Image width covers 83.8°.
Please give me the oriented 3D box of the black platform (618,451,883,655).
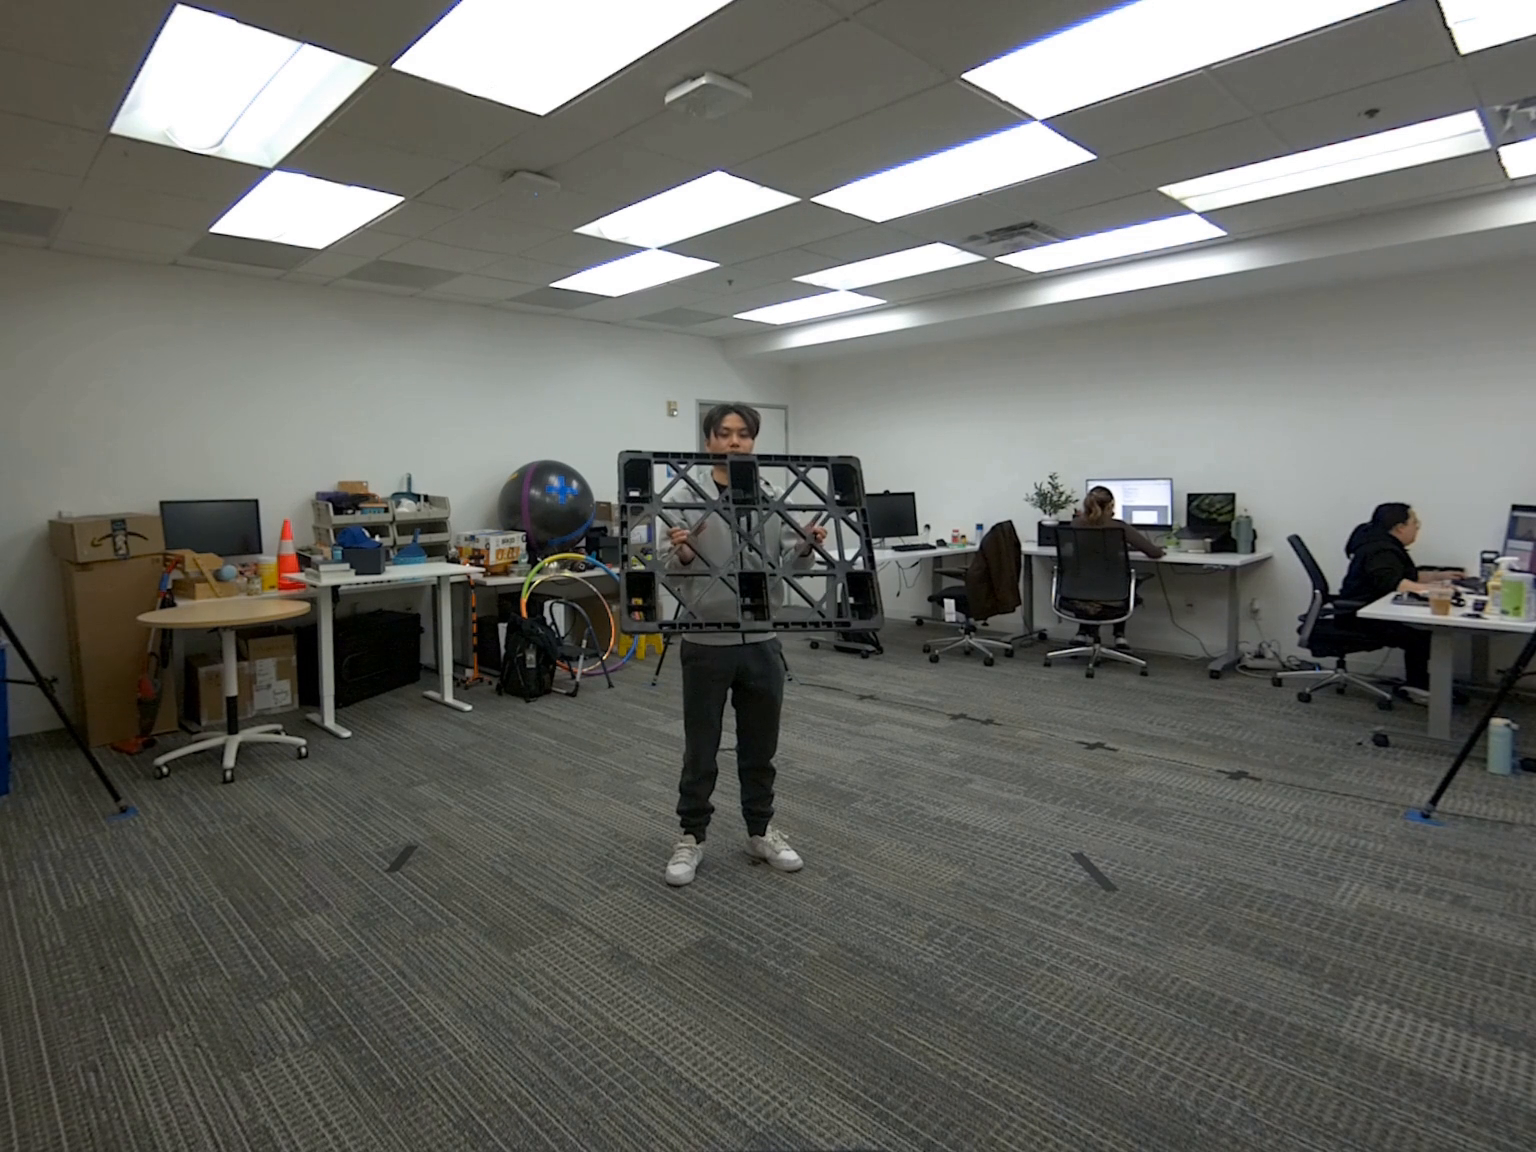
[{"bbox_3d":[-0.066,-0.091,2.696,0.797,0.618,0.142,0,-23,-10],"label":"black platform"}]
